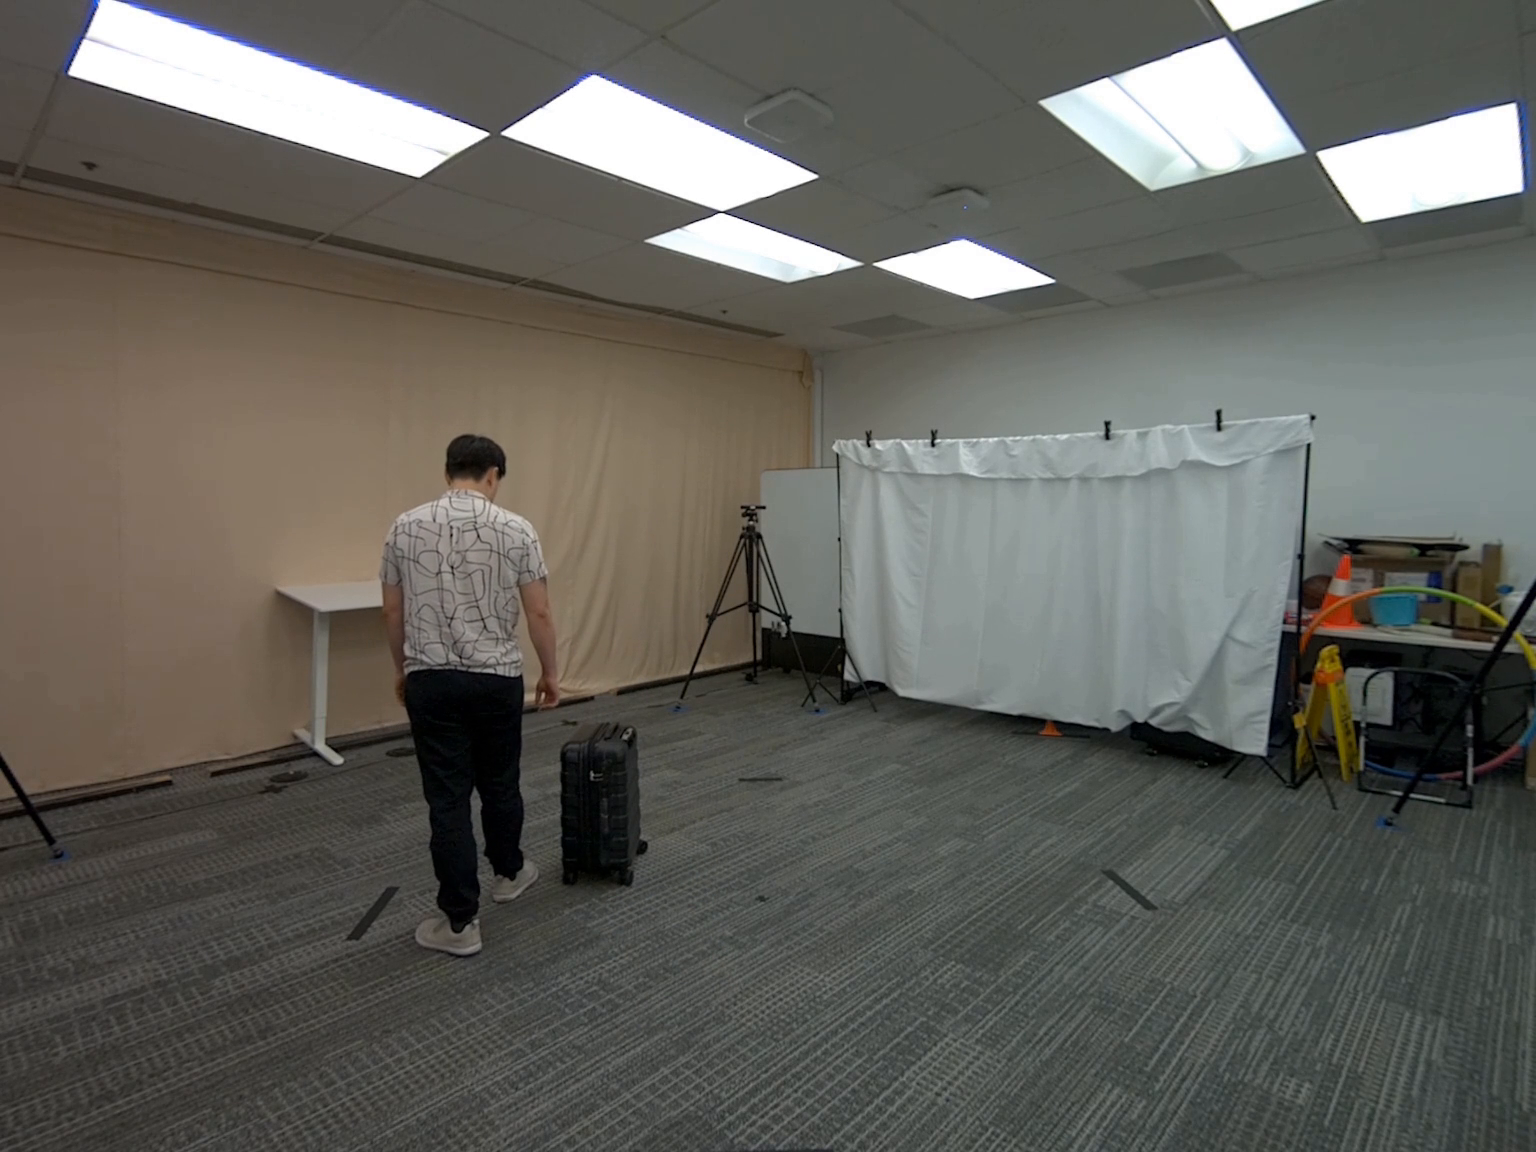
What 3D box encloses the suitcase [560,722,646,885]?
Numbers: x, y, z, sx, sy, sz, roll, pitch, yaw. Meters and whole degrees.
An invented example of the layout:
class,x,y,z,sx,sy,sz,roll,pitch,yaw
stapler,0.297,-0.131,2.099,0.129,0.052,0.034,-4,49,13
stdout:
class,x,y,z,sx,sy,sz,roll,pitch,yaw
suitcase,-0.636,0.854,3.225,0.249,0.548,0.375,0,4,1
